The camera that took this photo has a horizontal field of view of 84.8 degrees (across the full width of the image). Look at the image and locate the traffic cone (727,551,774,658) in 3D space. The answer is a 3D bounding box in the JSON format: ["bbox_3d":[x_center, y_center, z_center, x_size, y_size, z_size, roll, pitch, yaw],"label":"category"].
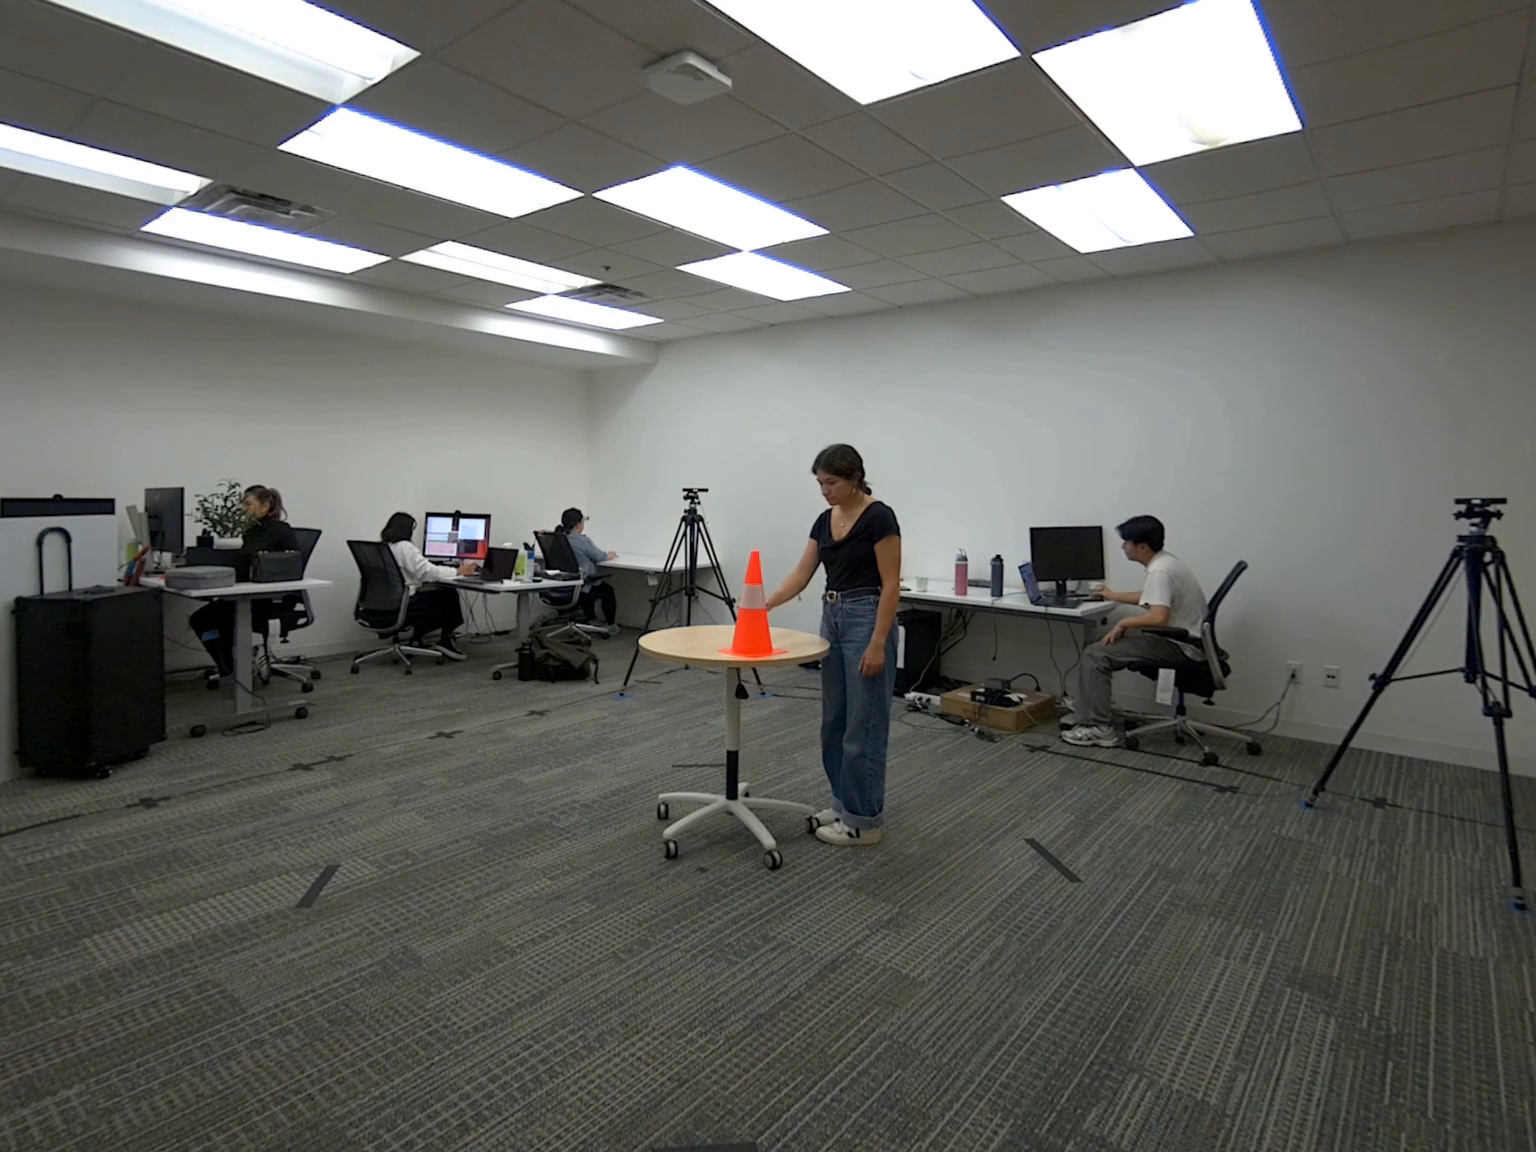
[{"bbox_3d":[-0.052,0.090,3.194,0.212,0.382,0.197,7,7,42],"label":"traffic cone"}]
